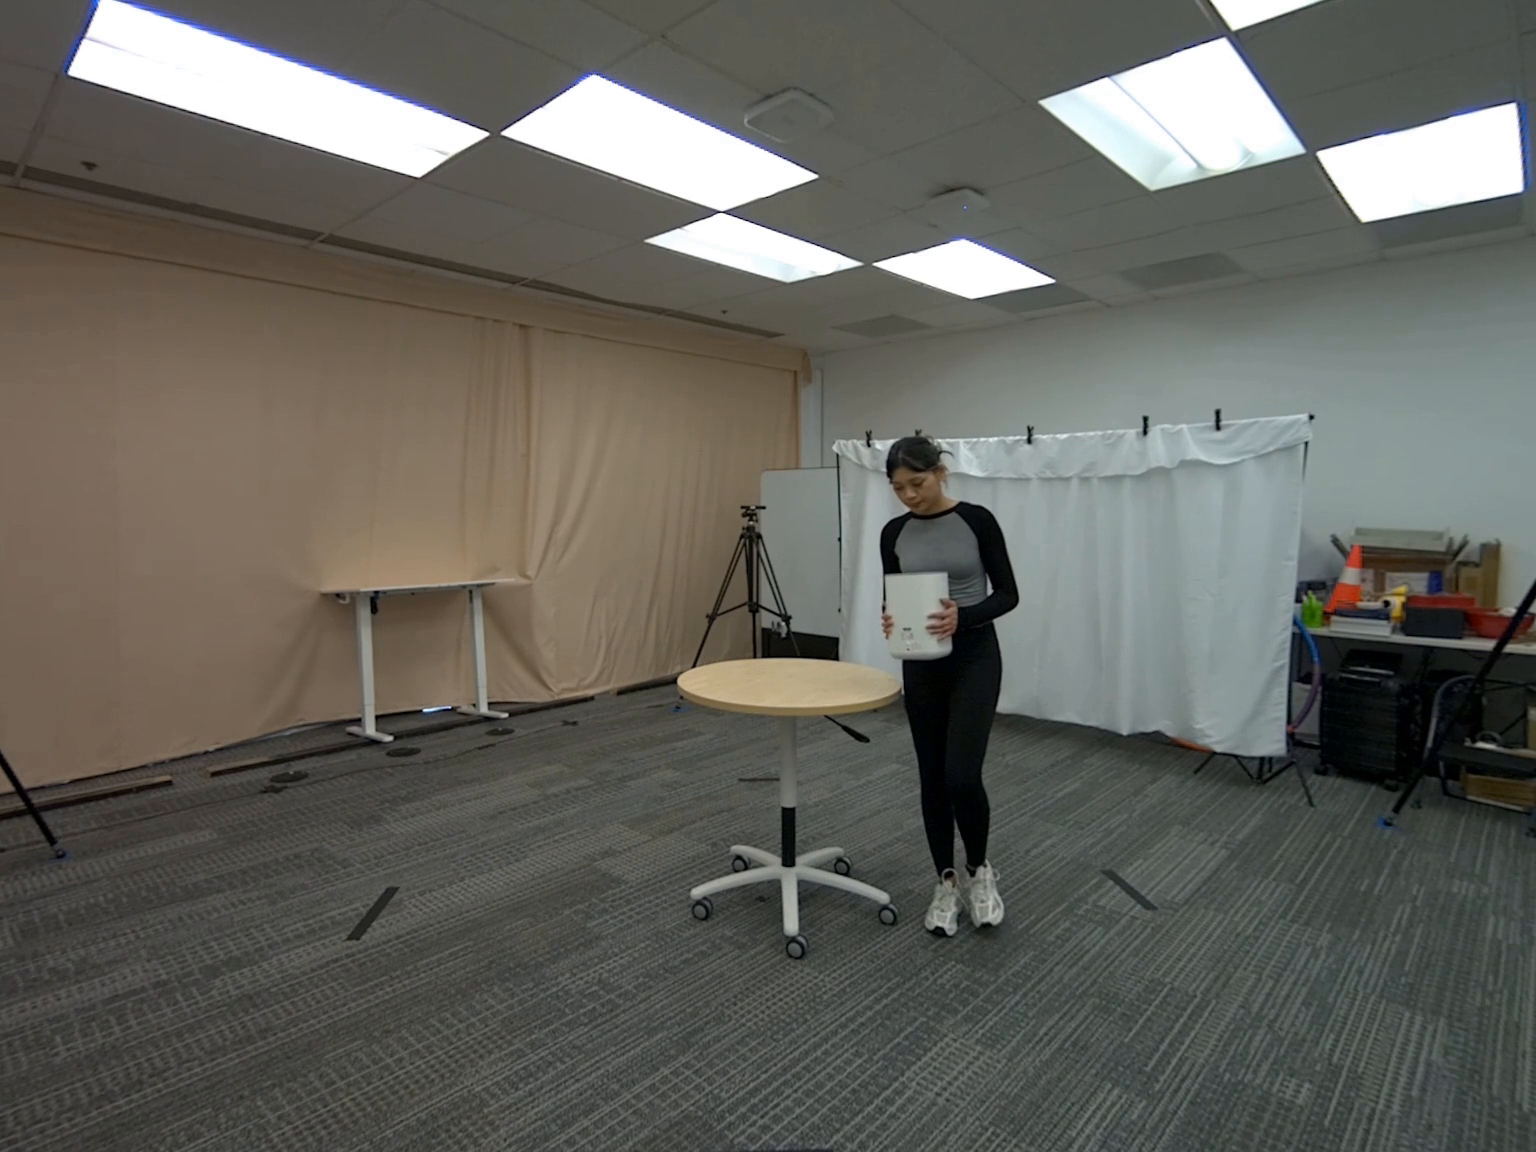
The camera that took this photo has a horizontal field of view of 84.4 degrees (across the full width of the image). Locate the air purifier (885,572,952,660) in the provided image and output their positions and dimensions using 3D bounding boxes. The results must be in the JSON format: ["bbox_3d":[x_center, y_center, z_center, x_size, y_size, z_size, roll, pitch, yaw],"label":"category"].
[{"bbox_3d":[0.470,0.124,2.639,0.176,0.266,0.166,-4,-2,30],"label":"air purifier"}]
